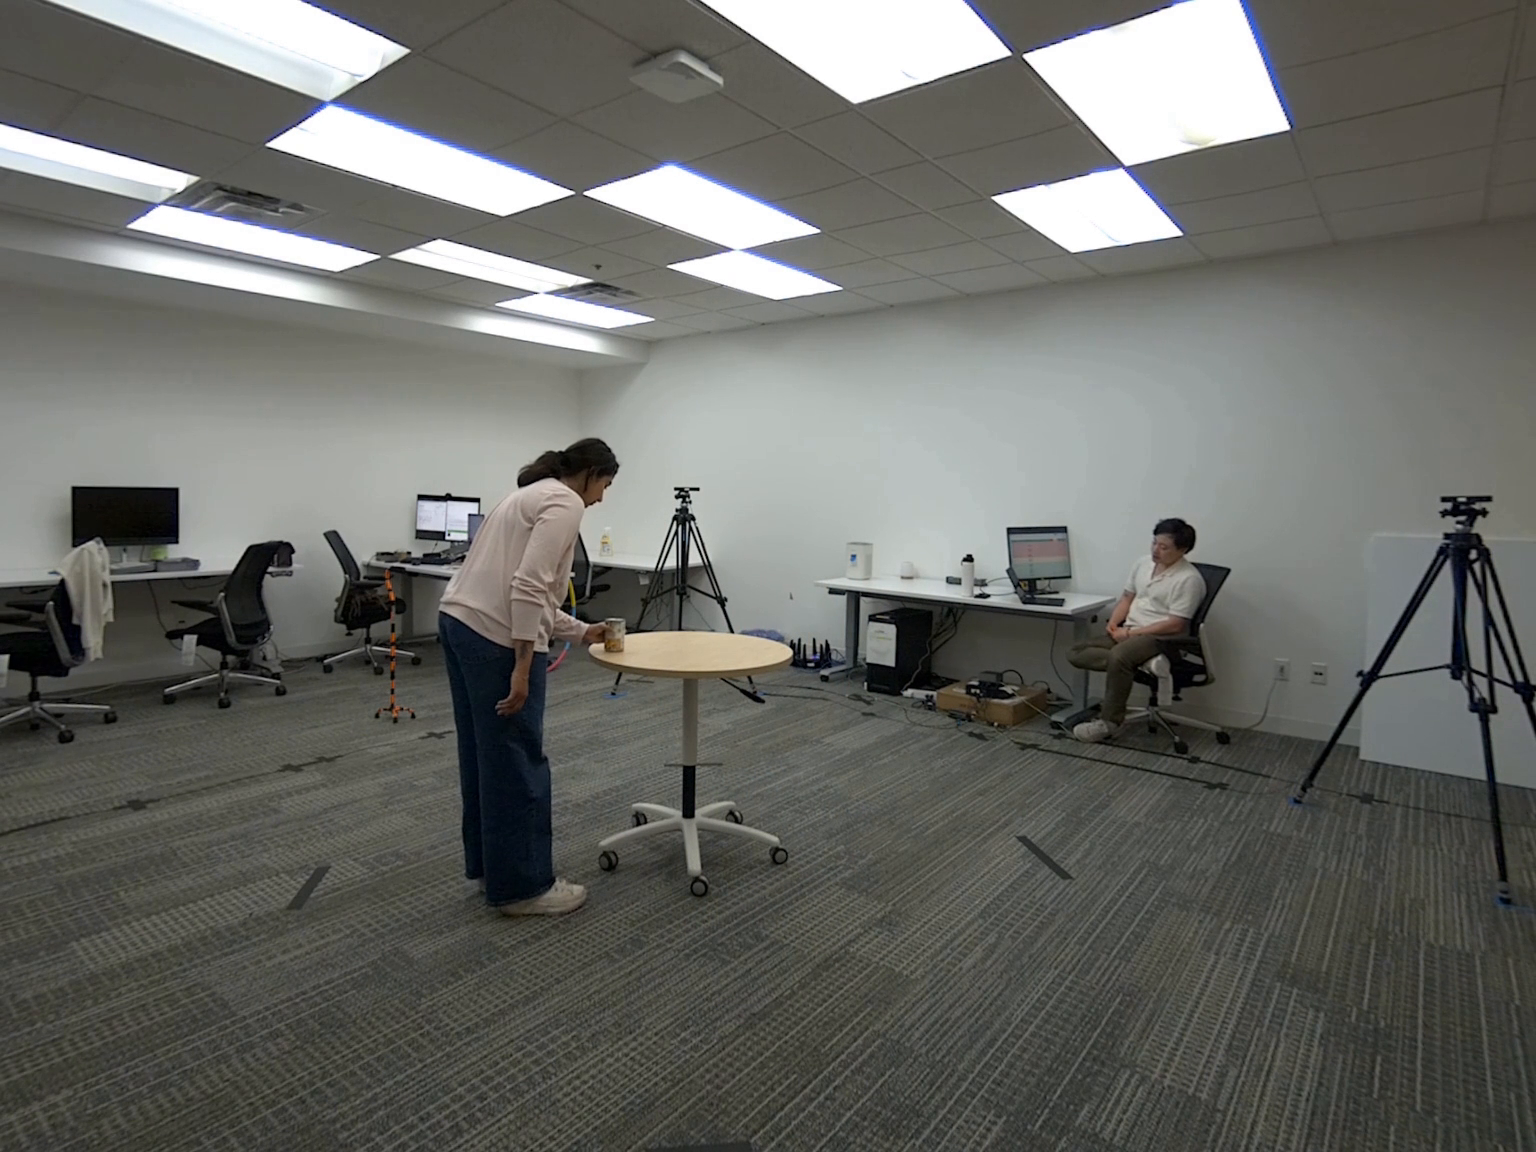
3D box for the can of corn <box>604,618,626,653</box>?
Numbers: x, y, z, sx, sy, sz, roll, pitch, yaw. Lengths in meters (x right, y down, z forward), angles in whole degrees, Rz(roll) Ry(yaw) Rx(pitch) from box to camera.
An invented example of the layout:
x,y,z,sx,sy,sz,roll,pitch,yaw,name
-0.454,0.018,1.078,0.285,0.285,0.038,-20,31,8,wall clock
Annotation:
x,y,z,sx,sy,sz,roll,pitch,yaw,name
-0.577,0.215,3.137,0.074,0.111,0.074,1,3,-2,can of corn
